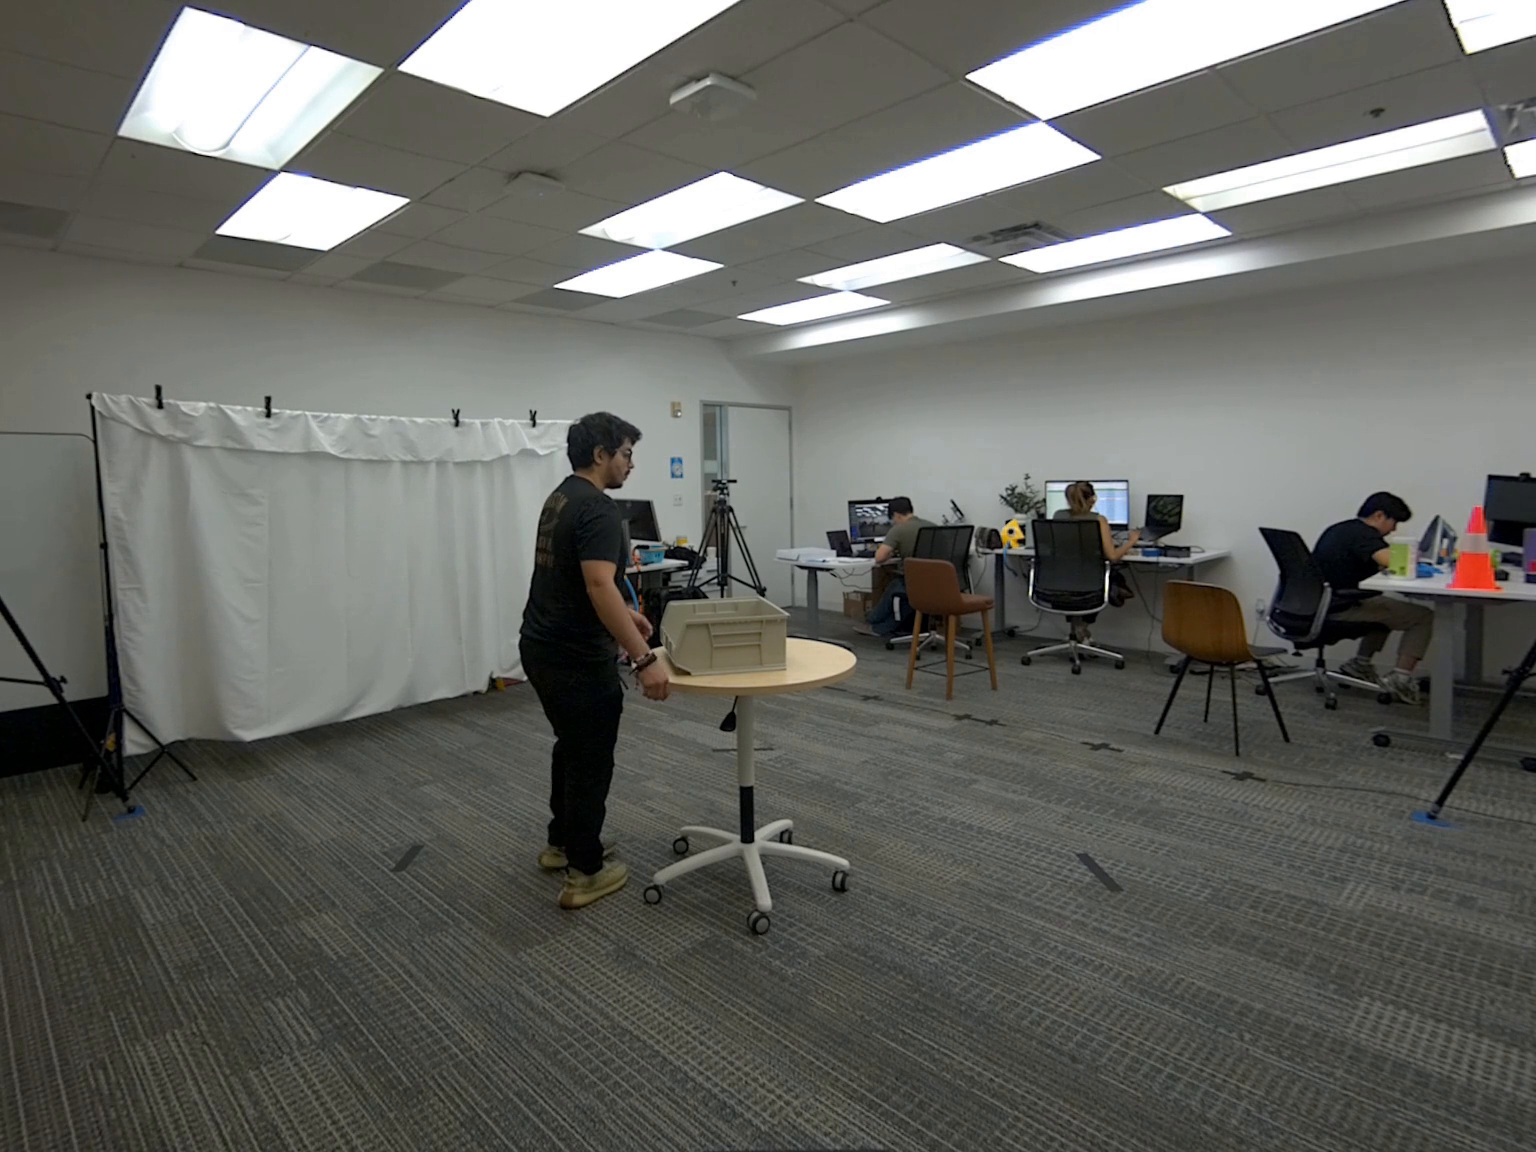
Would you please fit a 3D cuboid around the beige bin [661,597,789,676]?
[{"bbox_3d":[-0.158,0.195,2.912,0.373,0.188,0.429,-2,5,-12],"label":"beige bin"}]
